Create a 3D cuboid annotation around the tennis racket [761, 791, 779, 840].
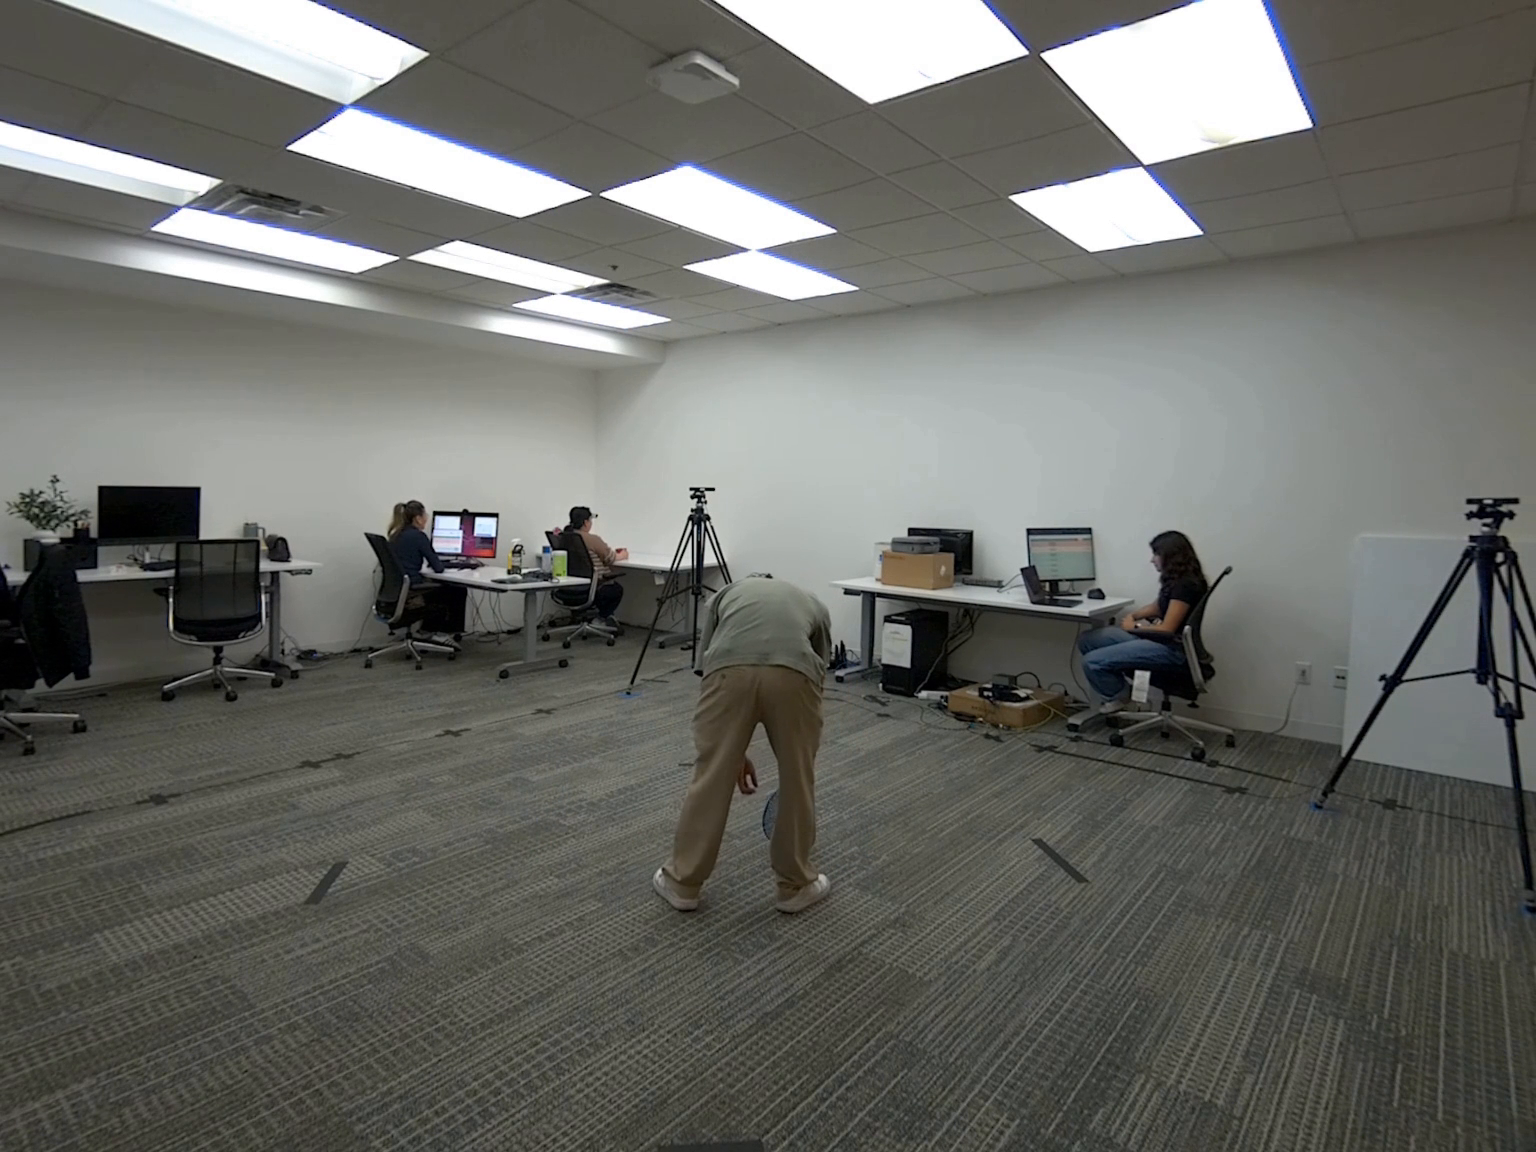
[{"bbox_3d":[0.093,0.818,3.277,0.207,0.430,0.033,11,9,-27],"label":"tennis racket"}]
